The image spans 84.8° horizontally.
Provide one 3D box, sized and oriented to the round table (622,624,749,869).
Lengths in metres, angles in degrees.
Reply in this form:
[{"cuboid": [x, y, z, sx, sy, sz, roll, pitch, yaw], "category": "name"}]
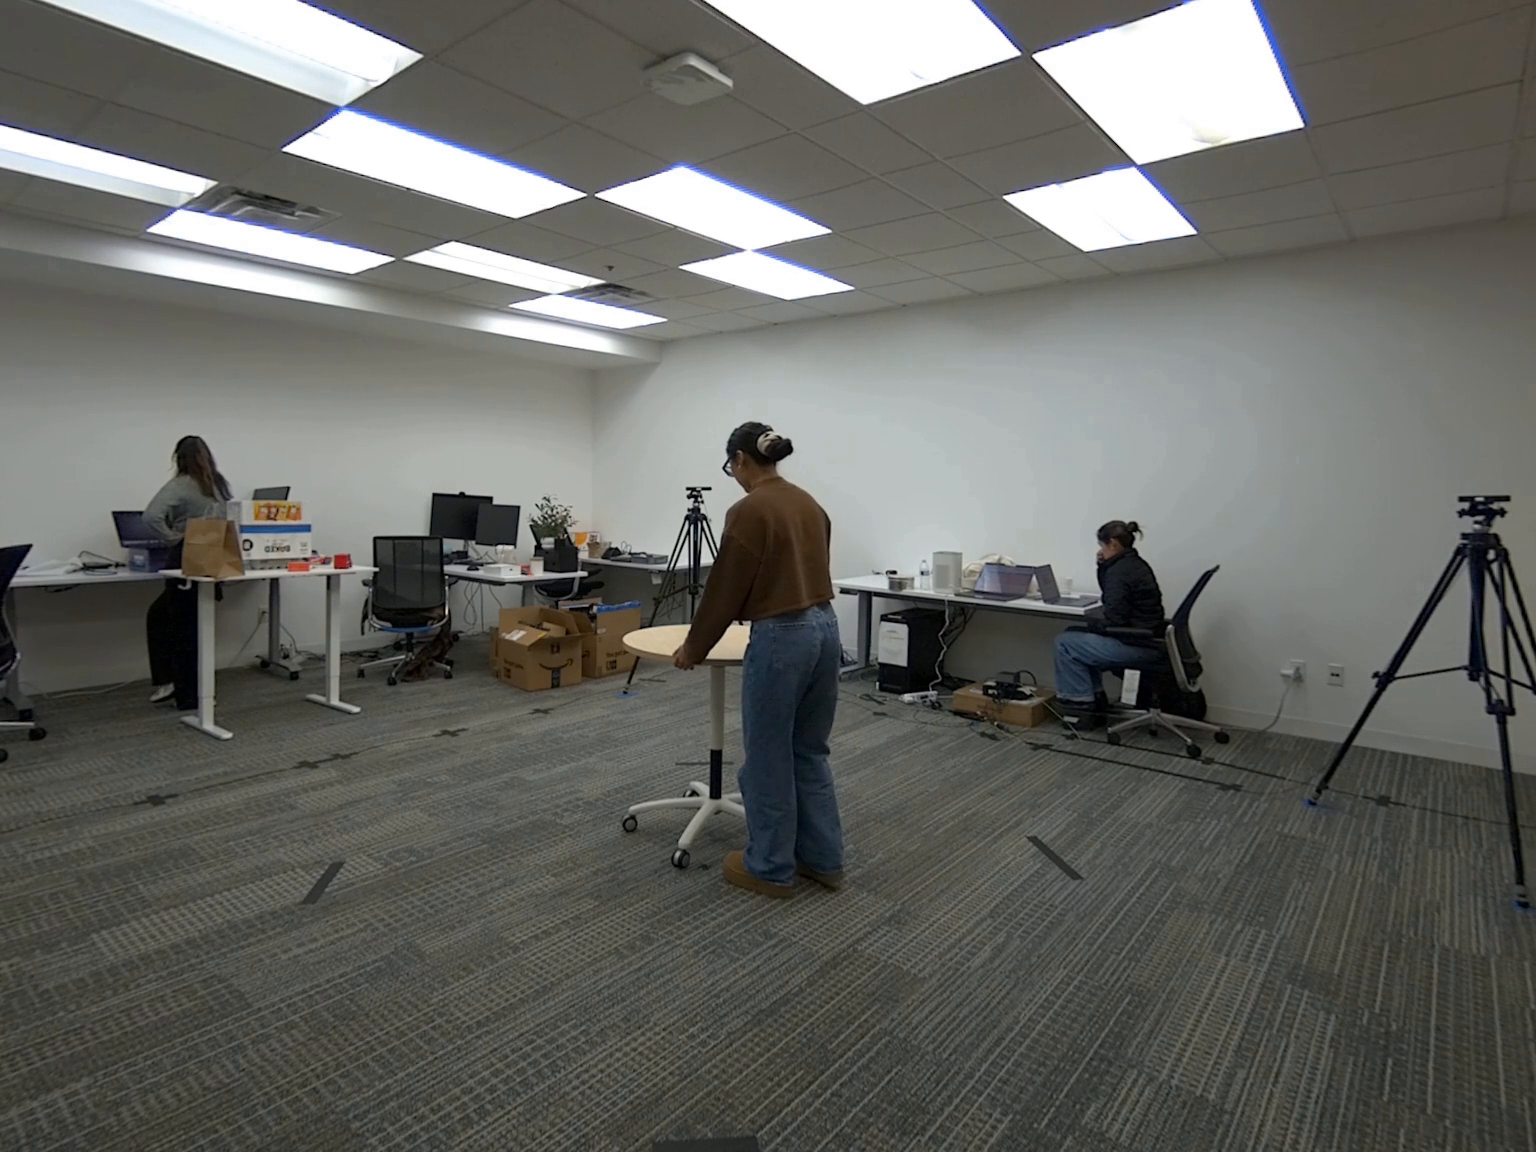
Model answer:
[{"cuboid": [-0.219, 0.645, 3.421, 0.763, 0.791, 0.768, 1, 4, -2], "category": "round table"}]
